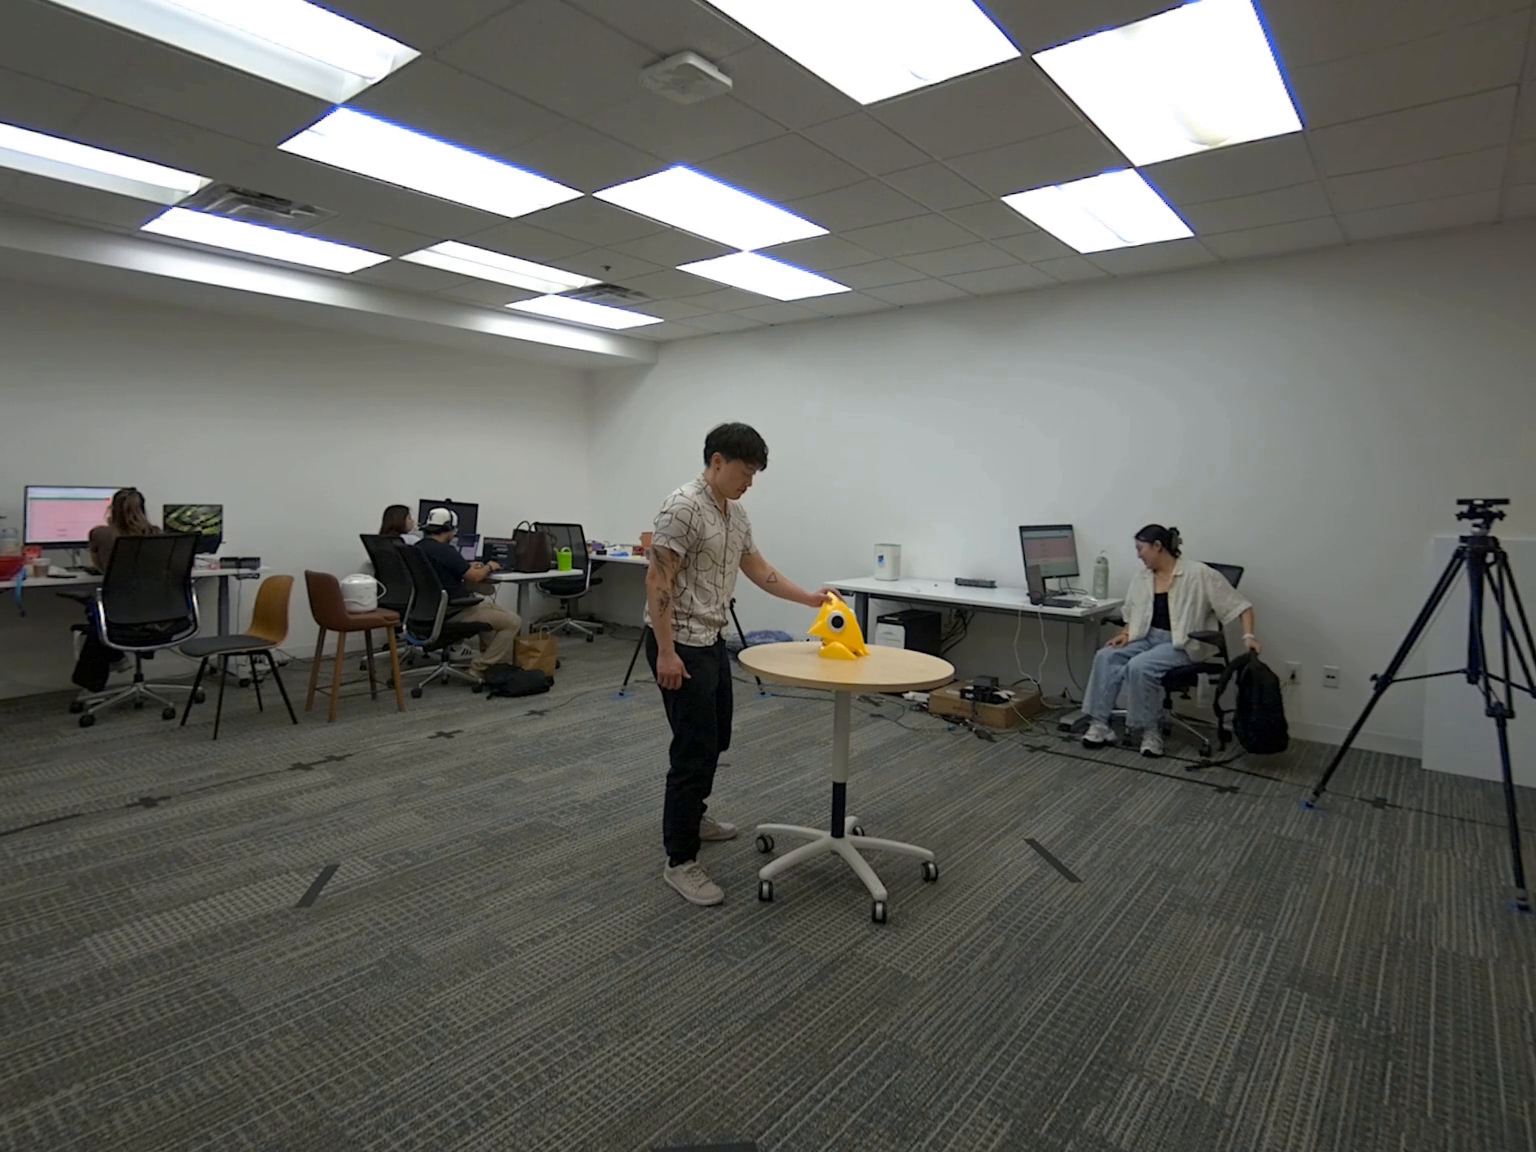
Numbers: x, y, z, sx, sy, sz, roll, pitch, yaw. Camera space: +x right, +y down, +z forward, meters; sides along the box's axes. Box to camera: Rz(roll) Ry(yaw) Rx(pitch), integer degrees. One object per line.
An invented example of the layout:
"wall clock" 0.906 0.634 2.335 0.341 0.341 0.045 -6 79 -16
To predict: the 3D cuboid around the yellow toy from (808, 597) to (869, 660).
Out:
"yellow toy" 0.267 0.180 3.177 0.199 0.230 0.199 4 4 33
